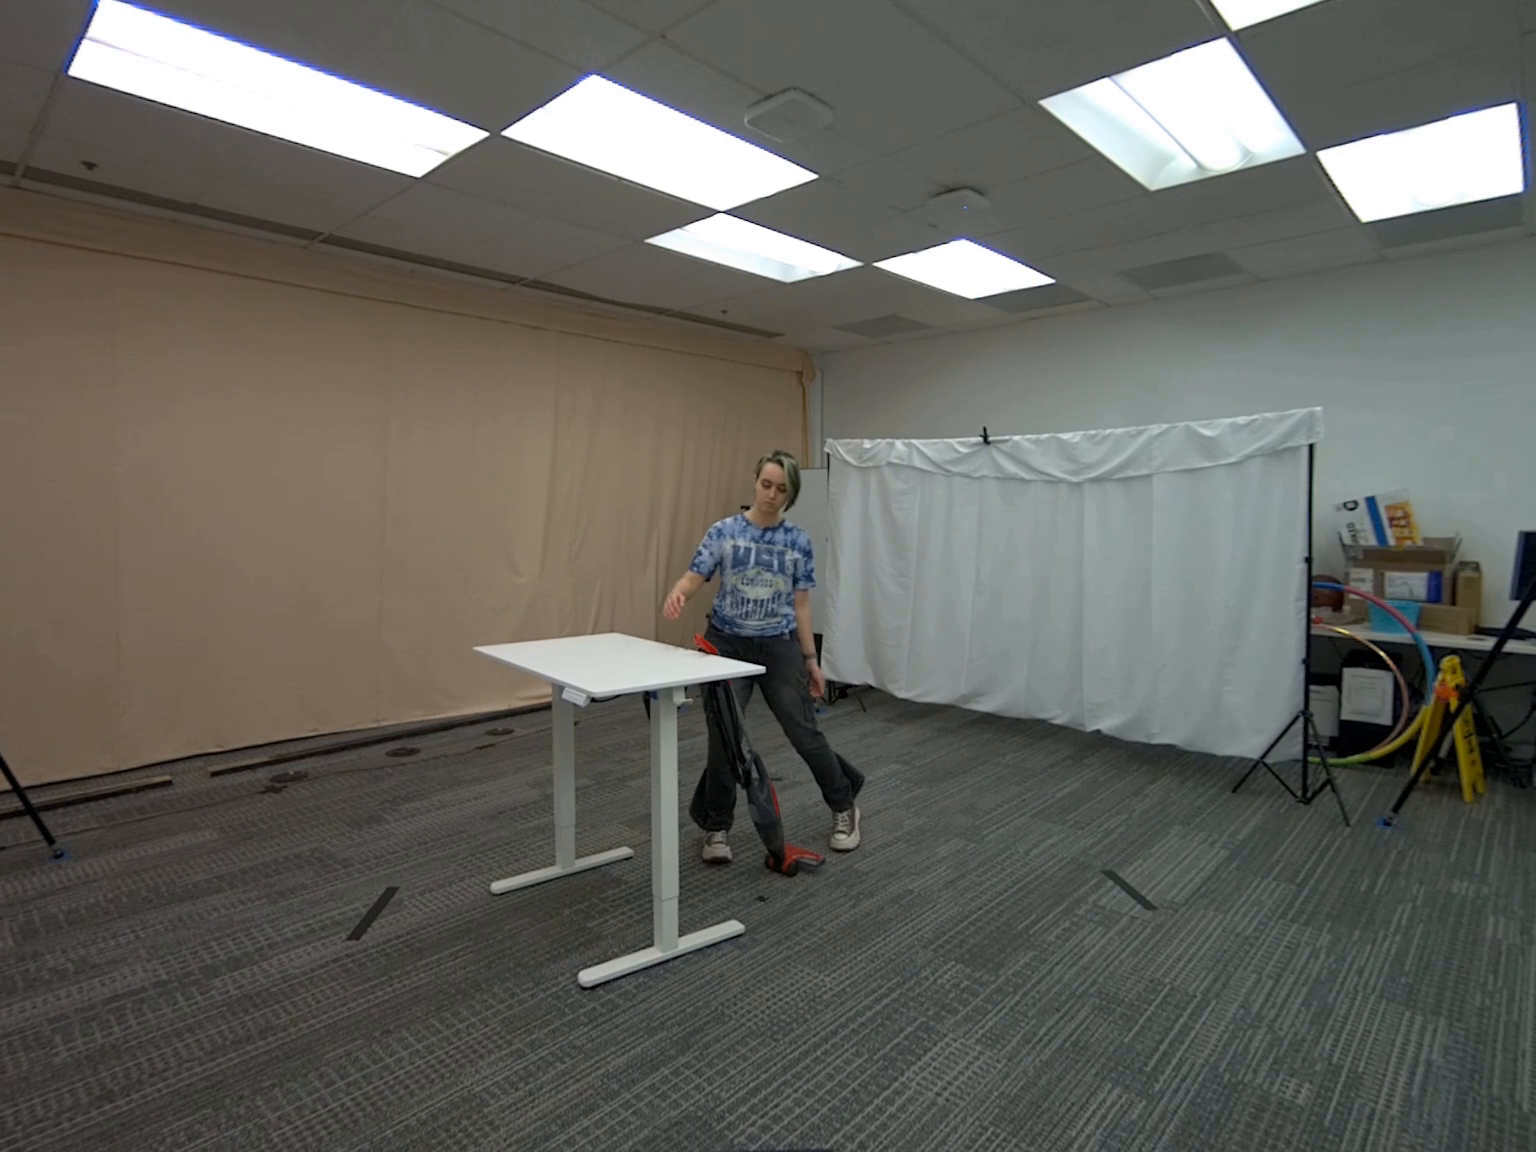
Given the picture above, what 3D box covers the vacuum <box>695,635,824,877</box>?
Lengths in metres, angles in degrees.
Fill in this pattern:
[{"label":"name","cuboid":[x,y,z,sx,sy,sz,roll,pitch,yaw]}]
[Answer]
[{"label":"vacuum","cuboid":[-0.077,0.665,3.040,0.261,1.028,0.142,1,30,41]}]
